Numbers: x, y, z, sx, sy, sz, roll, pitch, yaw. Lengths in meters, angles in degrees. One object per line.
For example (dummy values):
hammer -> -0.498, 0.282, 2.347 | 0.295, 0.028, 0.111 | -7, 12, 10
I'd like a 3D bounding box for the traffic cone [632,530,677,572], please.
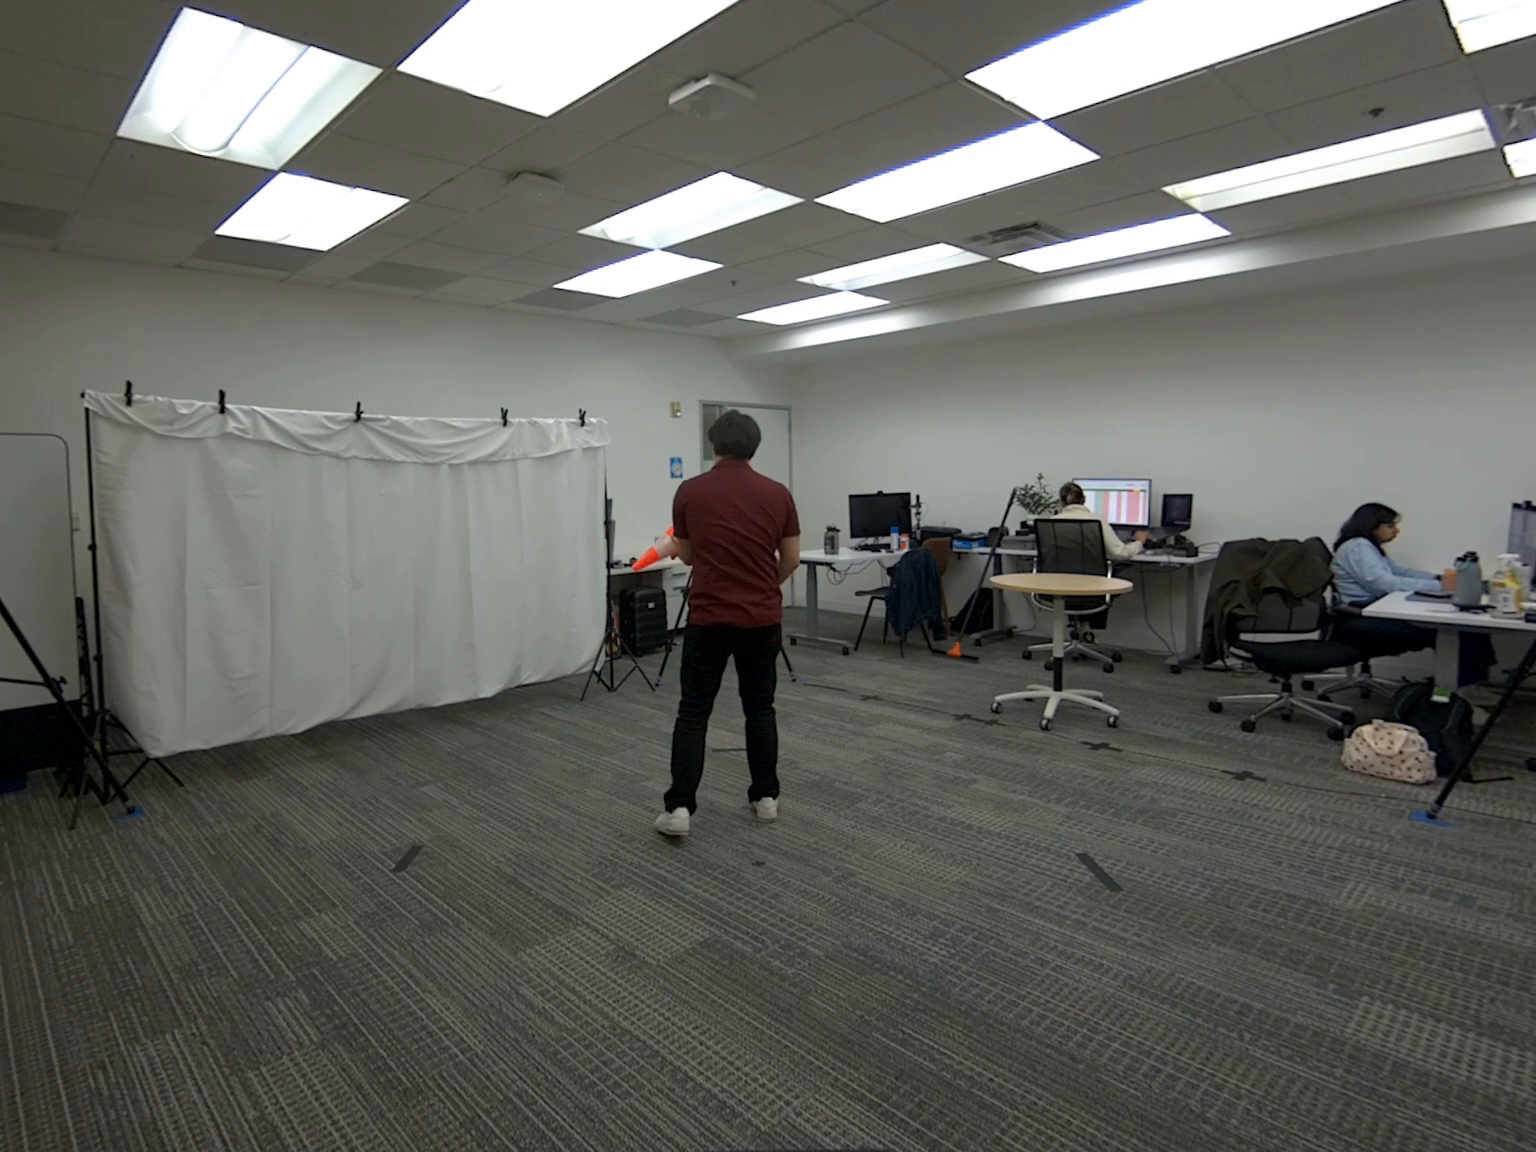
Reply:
traffic cone -> -0.456, -0.139, 3.855 | 0.381, 0.199, 0.211 | -36, 31, -22
